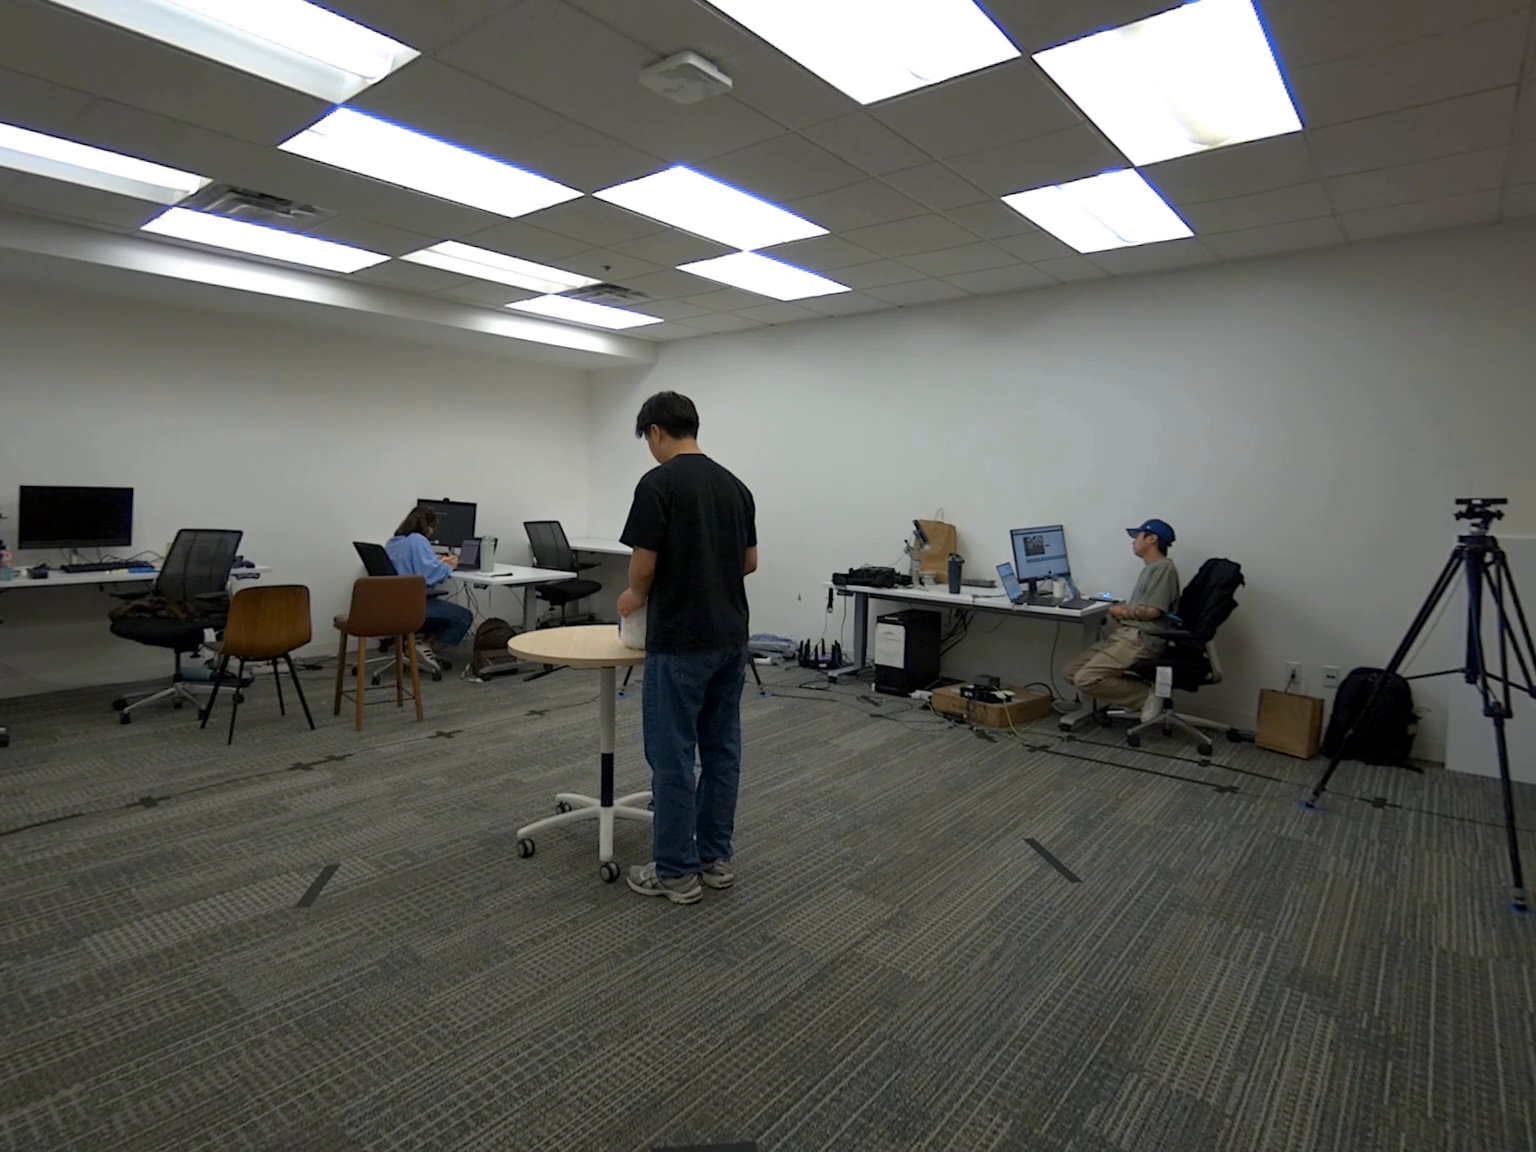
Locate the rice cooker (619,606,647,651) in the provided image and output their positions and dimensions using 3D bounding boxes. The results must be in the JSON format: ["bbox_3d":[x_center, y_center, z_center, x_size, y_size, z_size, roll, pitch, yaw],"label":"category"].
[{"bbox_3d":[-0.450,0.144,3.183,0.213,0.232,0.226,-2,6,-19],"label":"rice cooker"}]
